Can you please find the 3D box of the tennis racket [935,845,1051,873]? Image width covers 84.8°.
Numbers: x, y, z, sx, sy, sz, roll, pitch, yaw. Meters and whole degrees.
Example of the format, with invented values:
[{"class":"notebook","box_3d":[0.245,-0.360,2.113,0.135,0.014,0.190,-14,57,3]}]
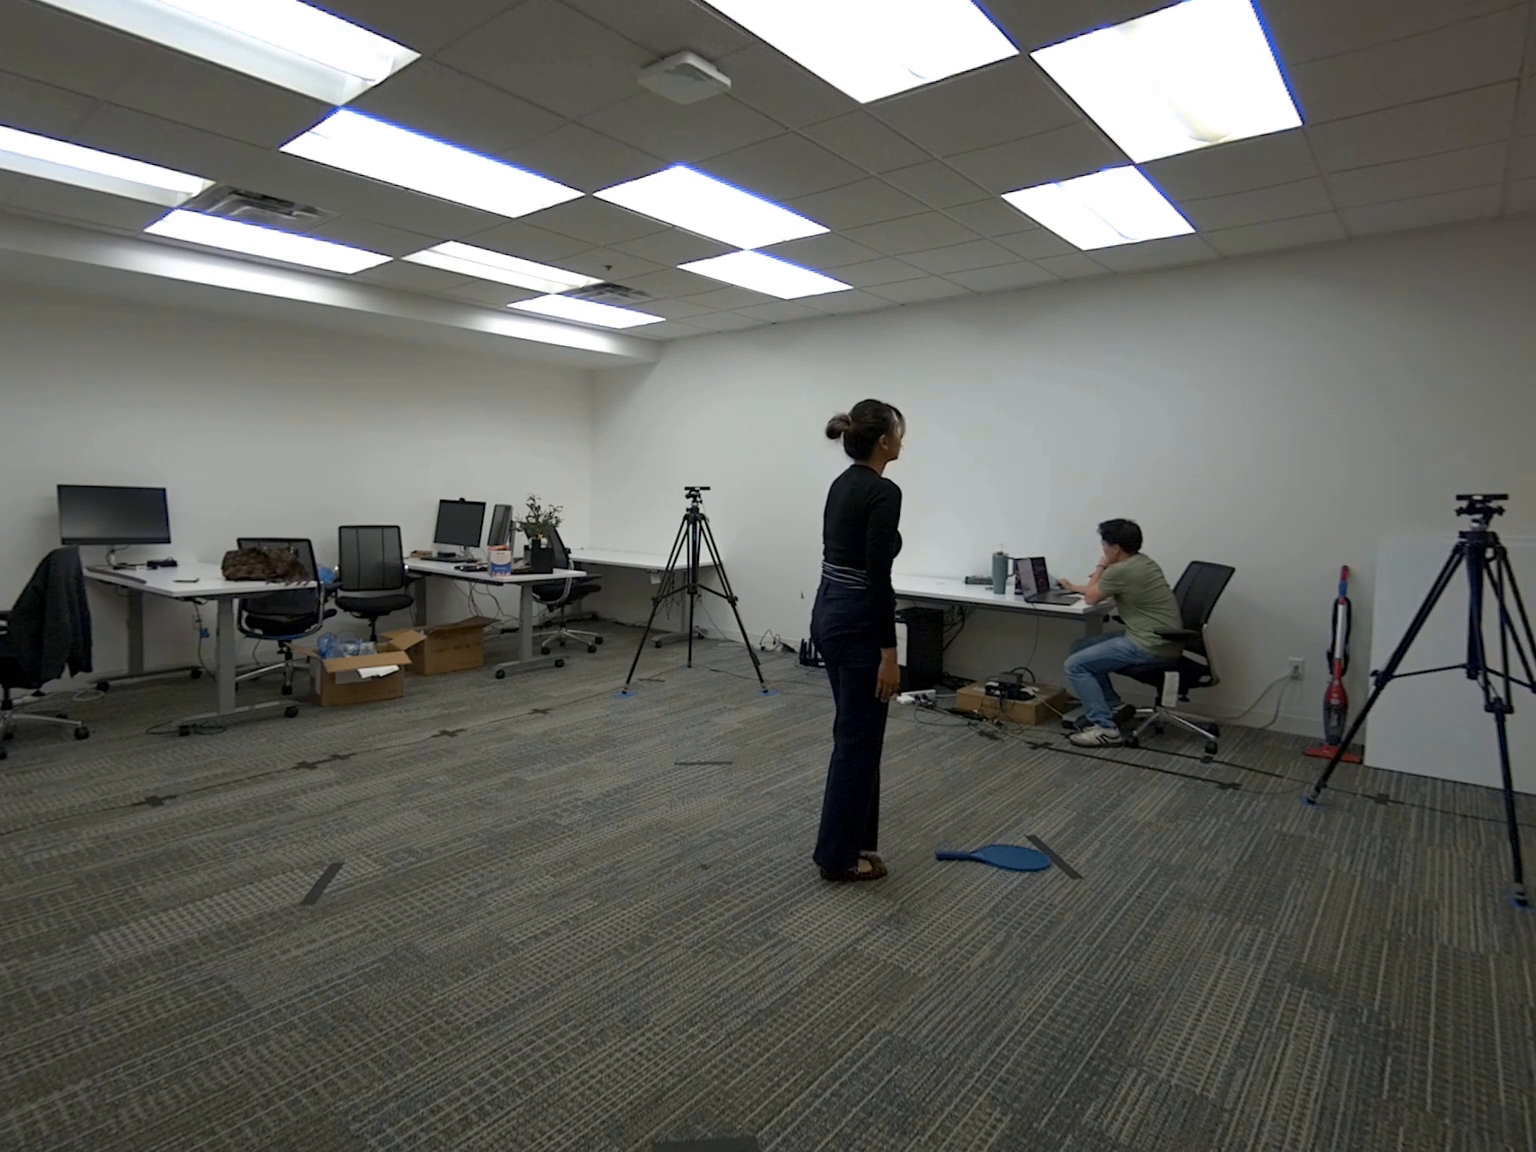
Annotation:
[{"class":"tennis racket","box_3d":[0.849,1.069,3.231,0.431,0.031,0.215,2,6,-4]}]
